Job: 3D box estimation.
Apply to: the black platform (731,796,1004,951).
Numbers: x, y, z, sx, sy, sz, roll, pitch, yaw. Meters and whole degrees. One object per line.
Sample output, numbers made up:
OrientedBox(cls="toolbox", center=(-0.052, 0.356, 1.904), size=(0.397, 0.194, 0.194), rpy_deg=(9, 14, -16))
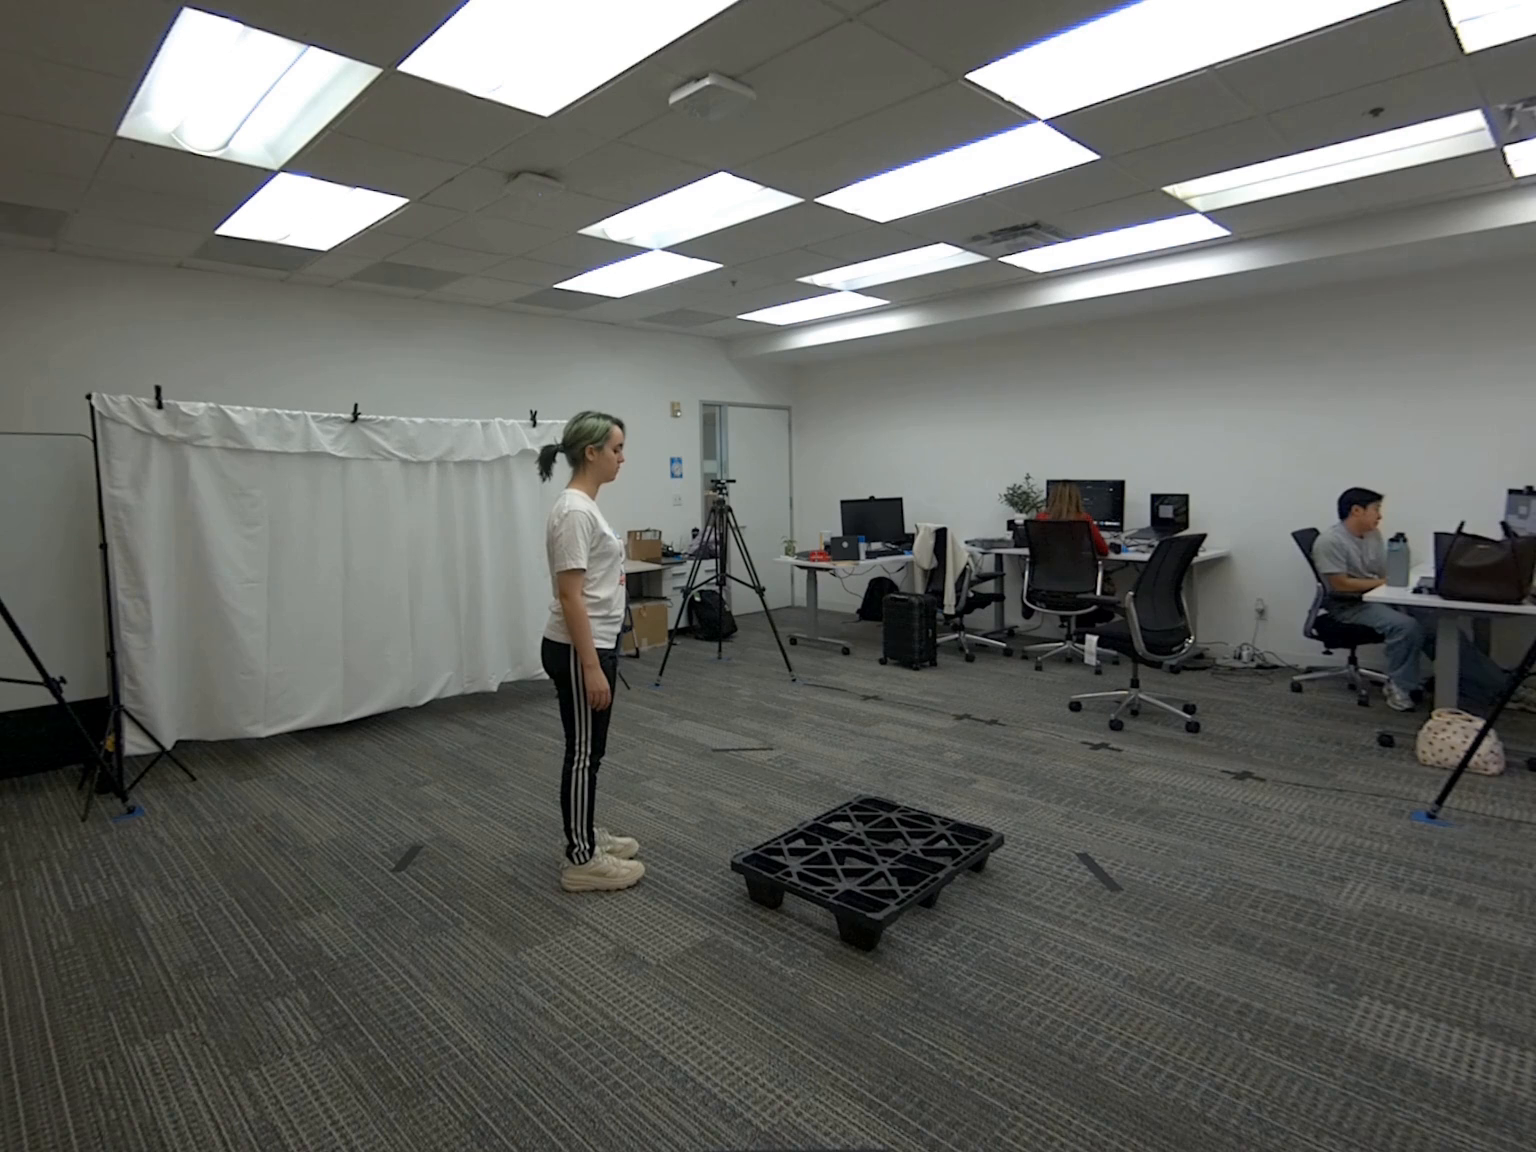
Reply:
OrientedBox(cls="black platform", center=(0.351, 0.993, 2.933), size=(0.623, 0.143, 0.785), rpy_deg=(4, 8, 42))
